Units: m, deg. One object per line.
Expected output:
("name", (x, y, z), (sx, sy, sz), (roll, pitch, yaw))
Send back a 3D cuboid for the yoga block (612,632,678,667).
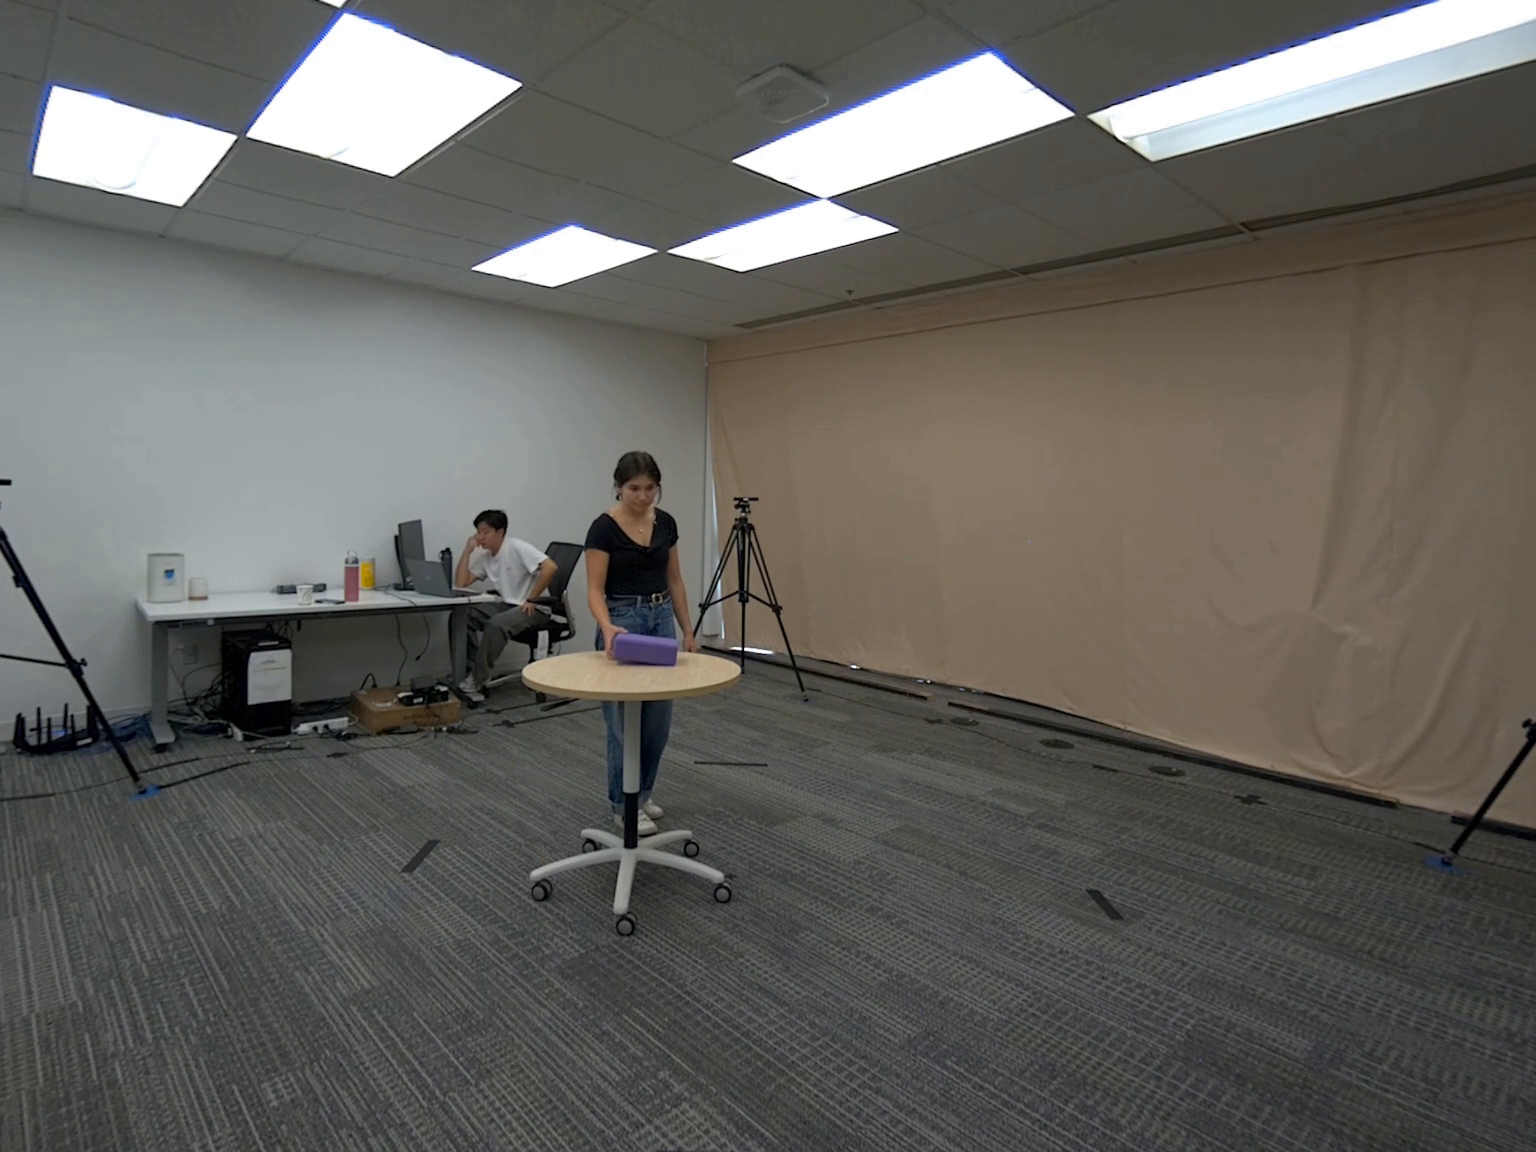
("yoga block", (-0.460, 0.273, 3.087), (0.229, 0.076, 0.149), (6, 4, -1))
